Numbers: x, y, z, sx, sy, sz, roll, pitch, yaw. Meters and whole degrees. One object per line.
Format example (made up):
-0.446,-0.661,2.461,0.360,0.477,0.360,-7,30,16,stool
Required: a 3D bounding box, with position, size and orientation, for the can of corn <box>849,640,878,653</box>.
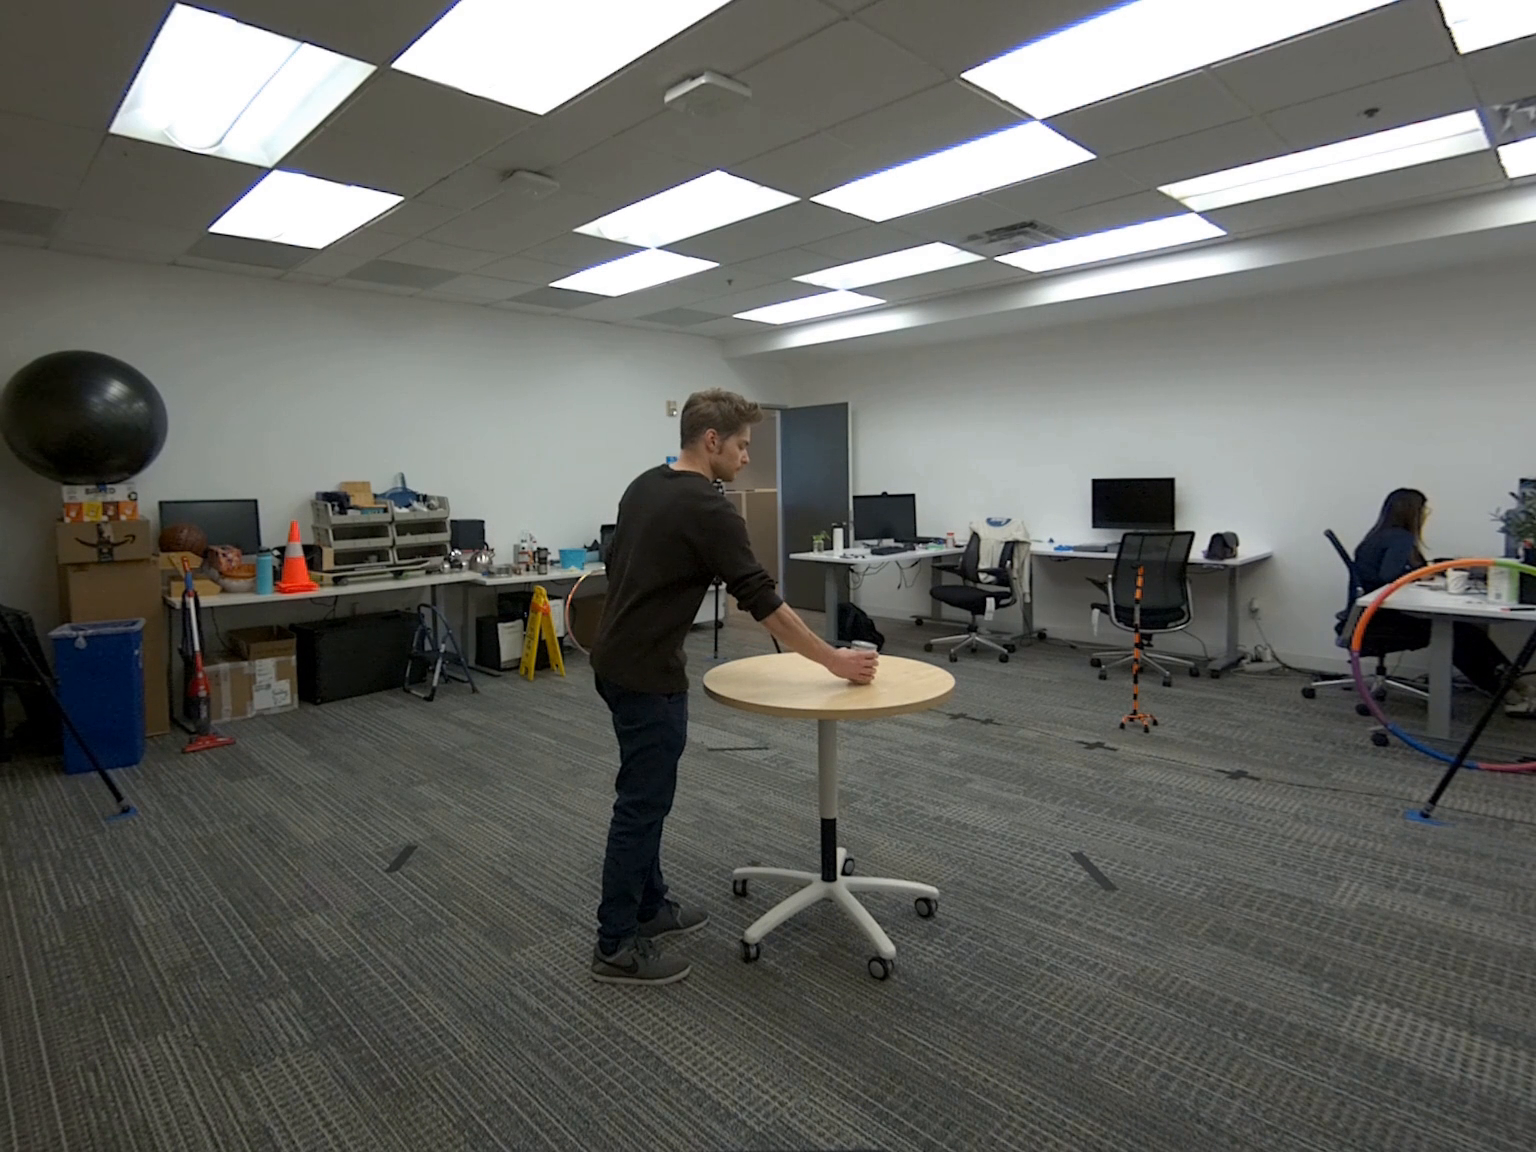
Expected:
0.279,0.257,2.543,0.074,0.110,0.075,7,8,-3,can of corn
